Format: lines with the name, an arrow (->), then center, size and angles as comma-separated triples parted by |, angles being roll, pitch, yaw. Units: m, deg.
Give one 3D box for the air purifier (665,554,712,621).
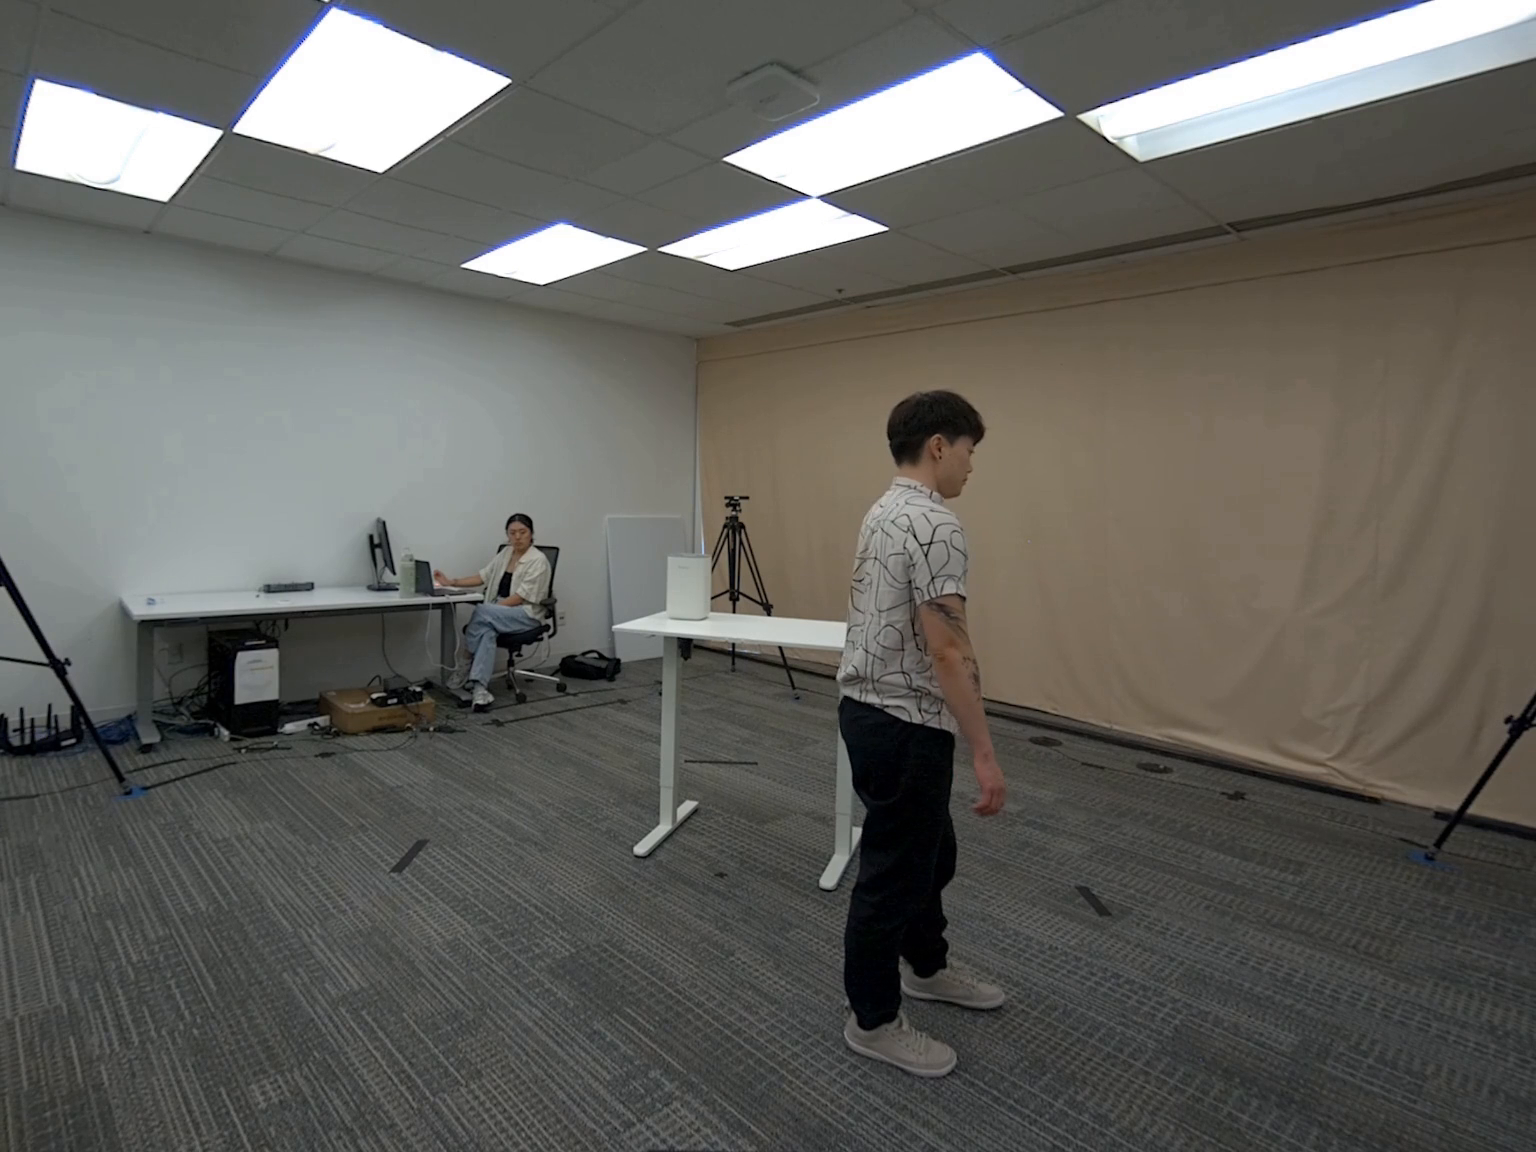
air purifier -> -0.330, 0.048, 3.528 | 0.173, 0.264, 0.170 | 4, 4, 12
